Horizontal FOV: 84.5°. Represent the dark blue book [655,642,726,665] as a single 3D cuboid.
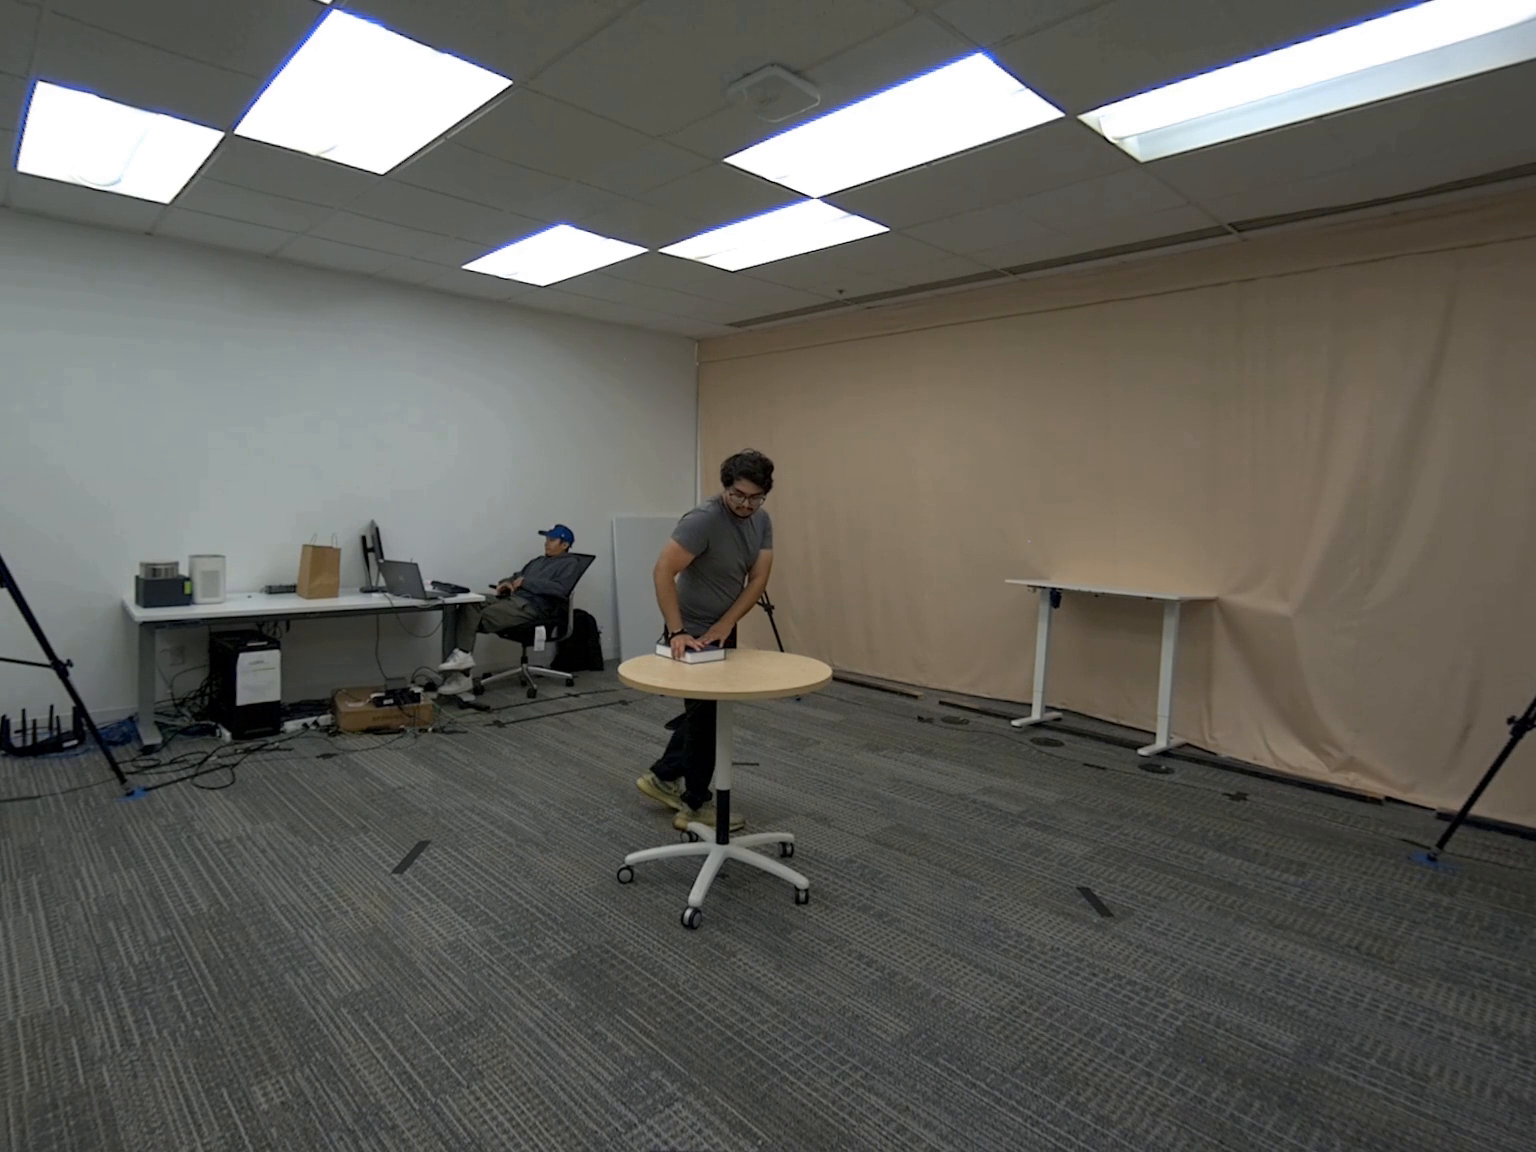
[{"bbox_3d":[-0.310,0.294,3.219,0.160,0.045,0.251,-4,7,-40],"label":"dark blue book"}]
